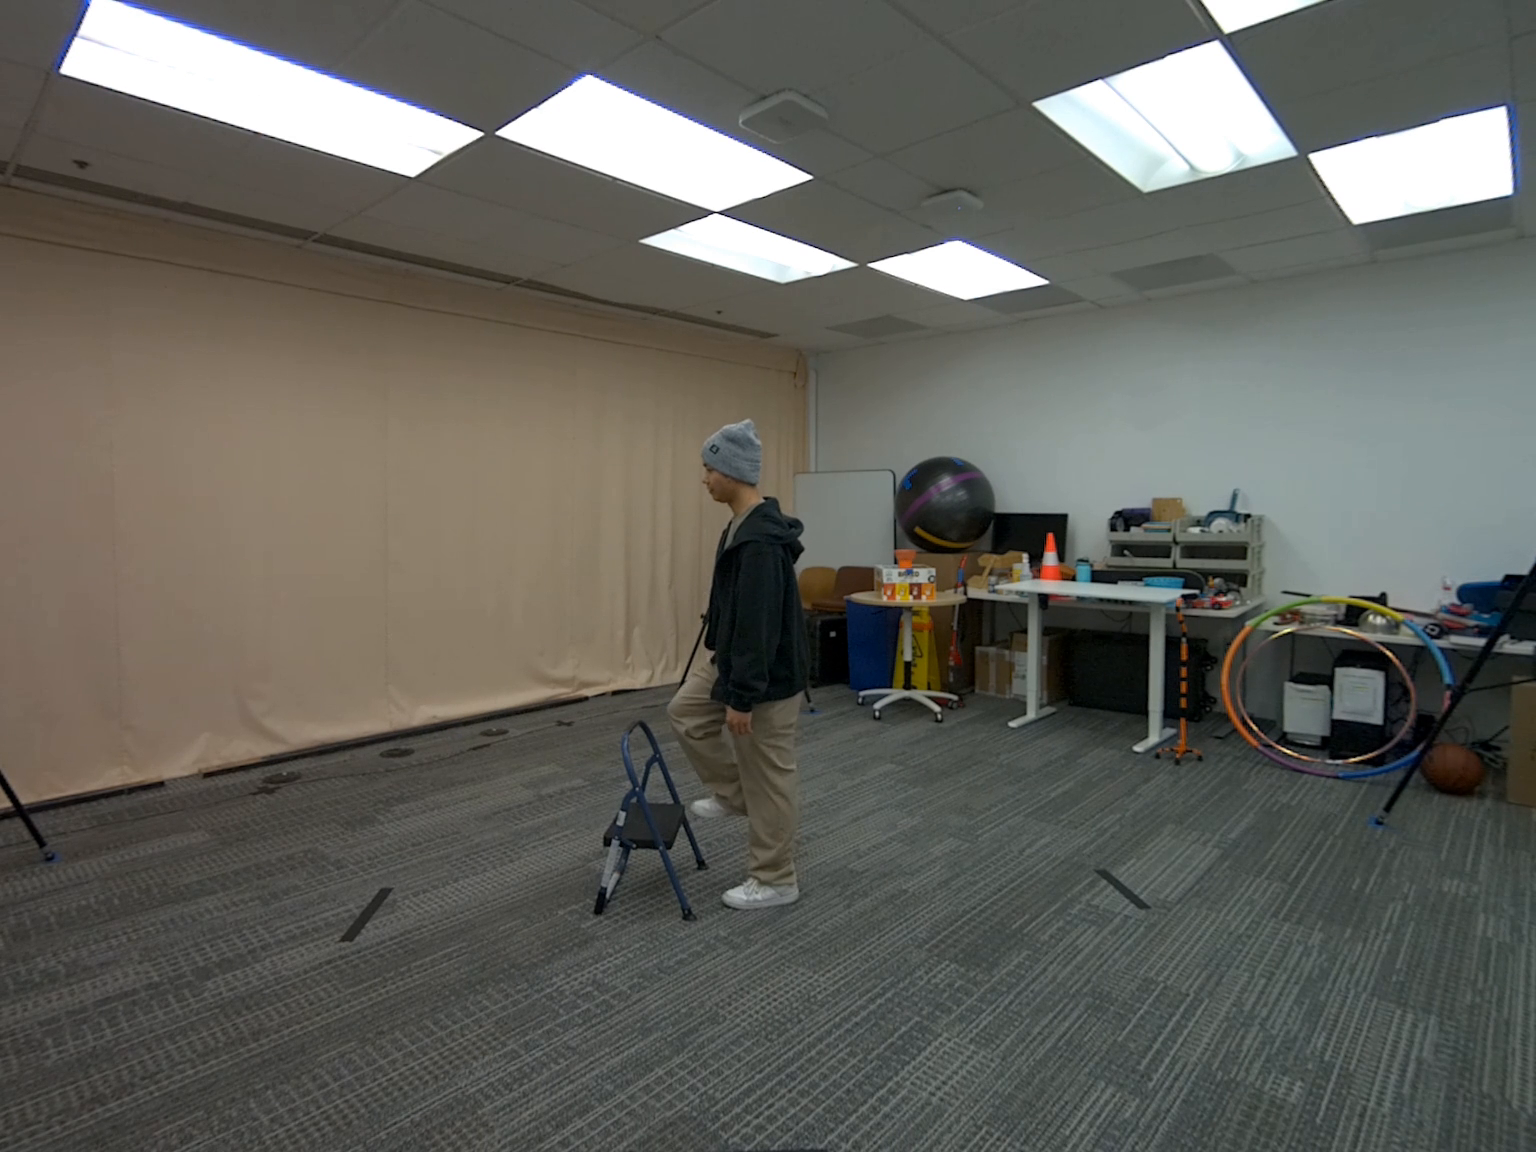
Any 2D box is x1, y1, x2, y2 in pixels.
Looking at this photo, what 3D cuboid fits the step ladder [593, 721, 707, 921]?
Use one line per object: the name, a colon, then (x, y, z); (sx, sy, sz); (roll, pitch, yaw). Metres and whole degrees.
step ladder: (-0.416, 0.843, 3.044); (0.351, 0.605, 0.429); (0, 3, 3)
